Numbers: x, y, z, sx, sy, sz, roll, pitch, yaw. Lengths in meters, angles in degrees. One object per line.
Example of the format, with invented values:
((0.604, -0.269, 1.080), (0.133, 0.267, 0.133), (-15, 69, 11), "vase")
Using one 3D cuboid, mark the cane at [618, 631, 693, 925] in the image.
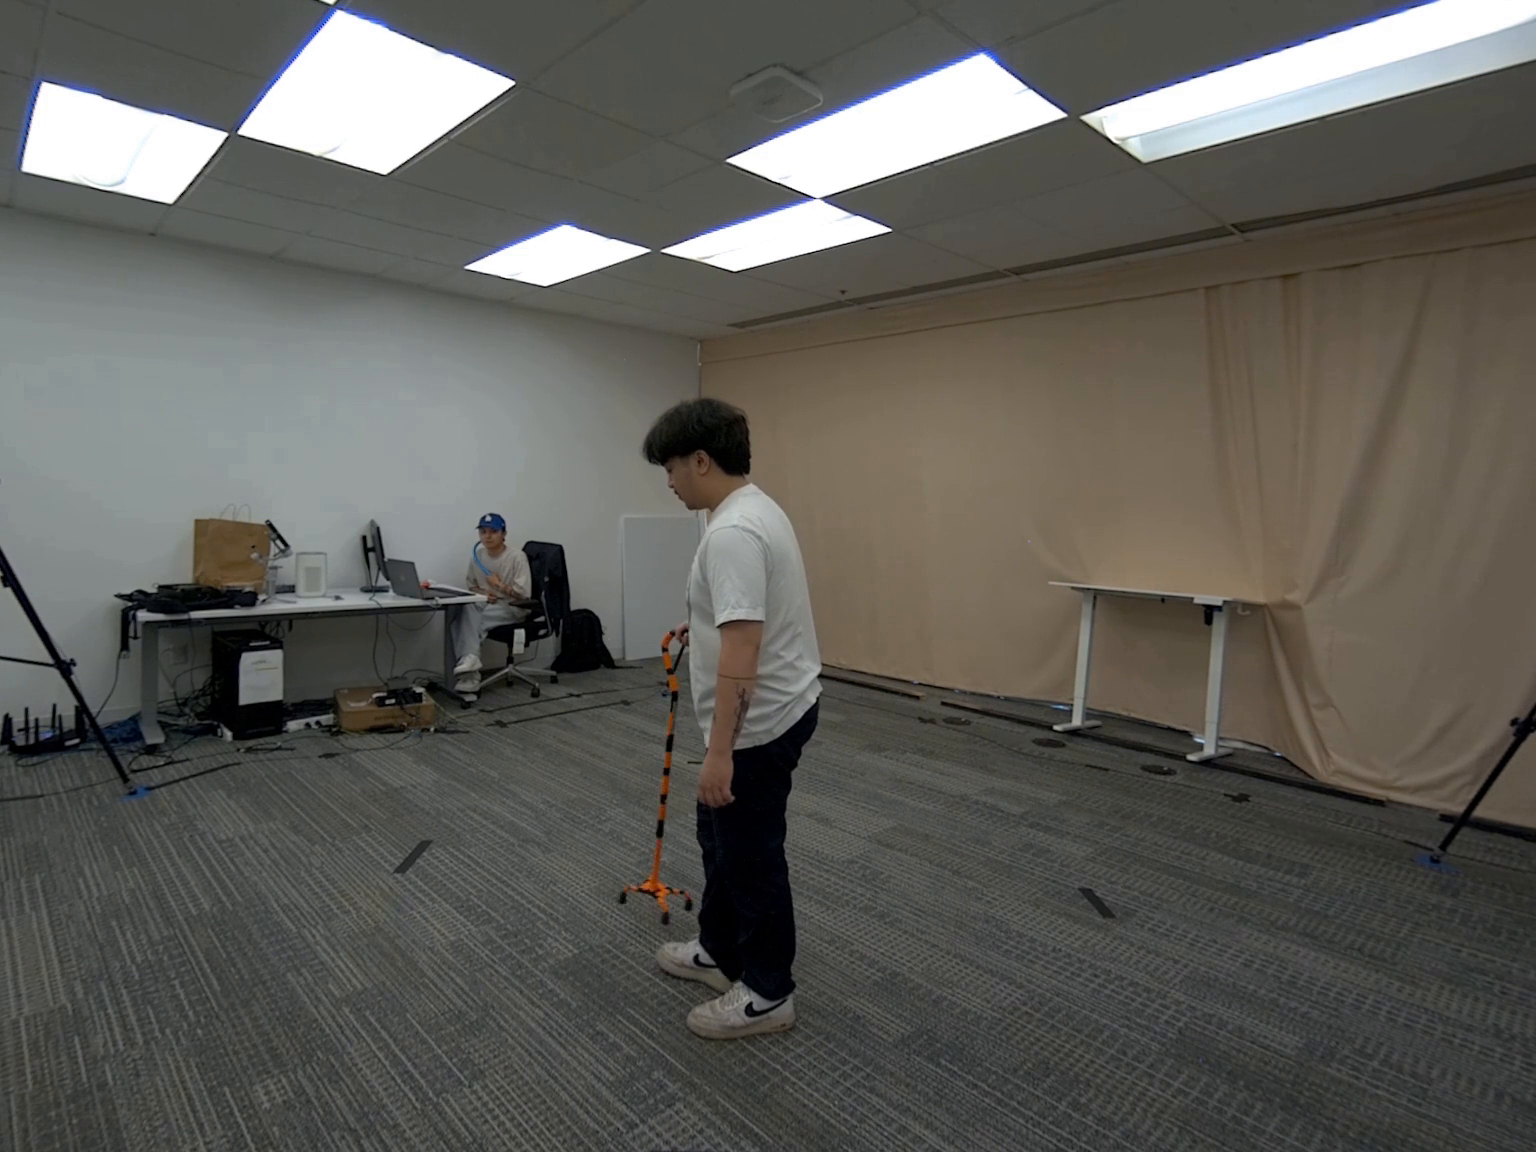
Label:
((-0.318, 0.629, 2.685), (0.211, 0.905, 0.148), (8, 4, 29), "cane")
